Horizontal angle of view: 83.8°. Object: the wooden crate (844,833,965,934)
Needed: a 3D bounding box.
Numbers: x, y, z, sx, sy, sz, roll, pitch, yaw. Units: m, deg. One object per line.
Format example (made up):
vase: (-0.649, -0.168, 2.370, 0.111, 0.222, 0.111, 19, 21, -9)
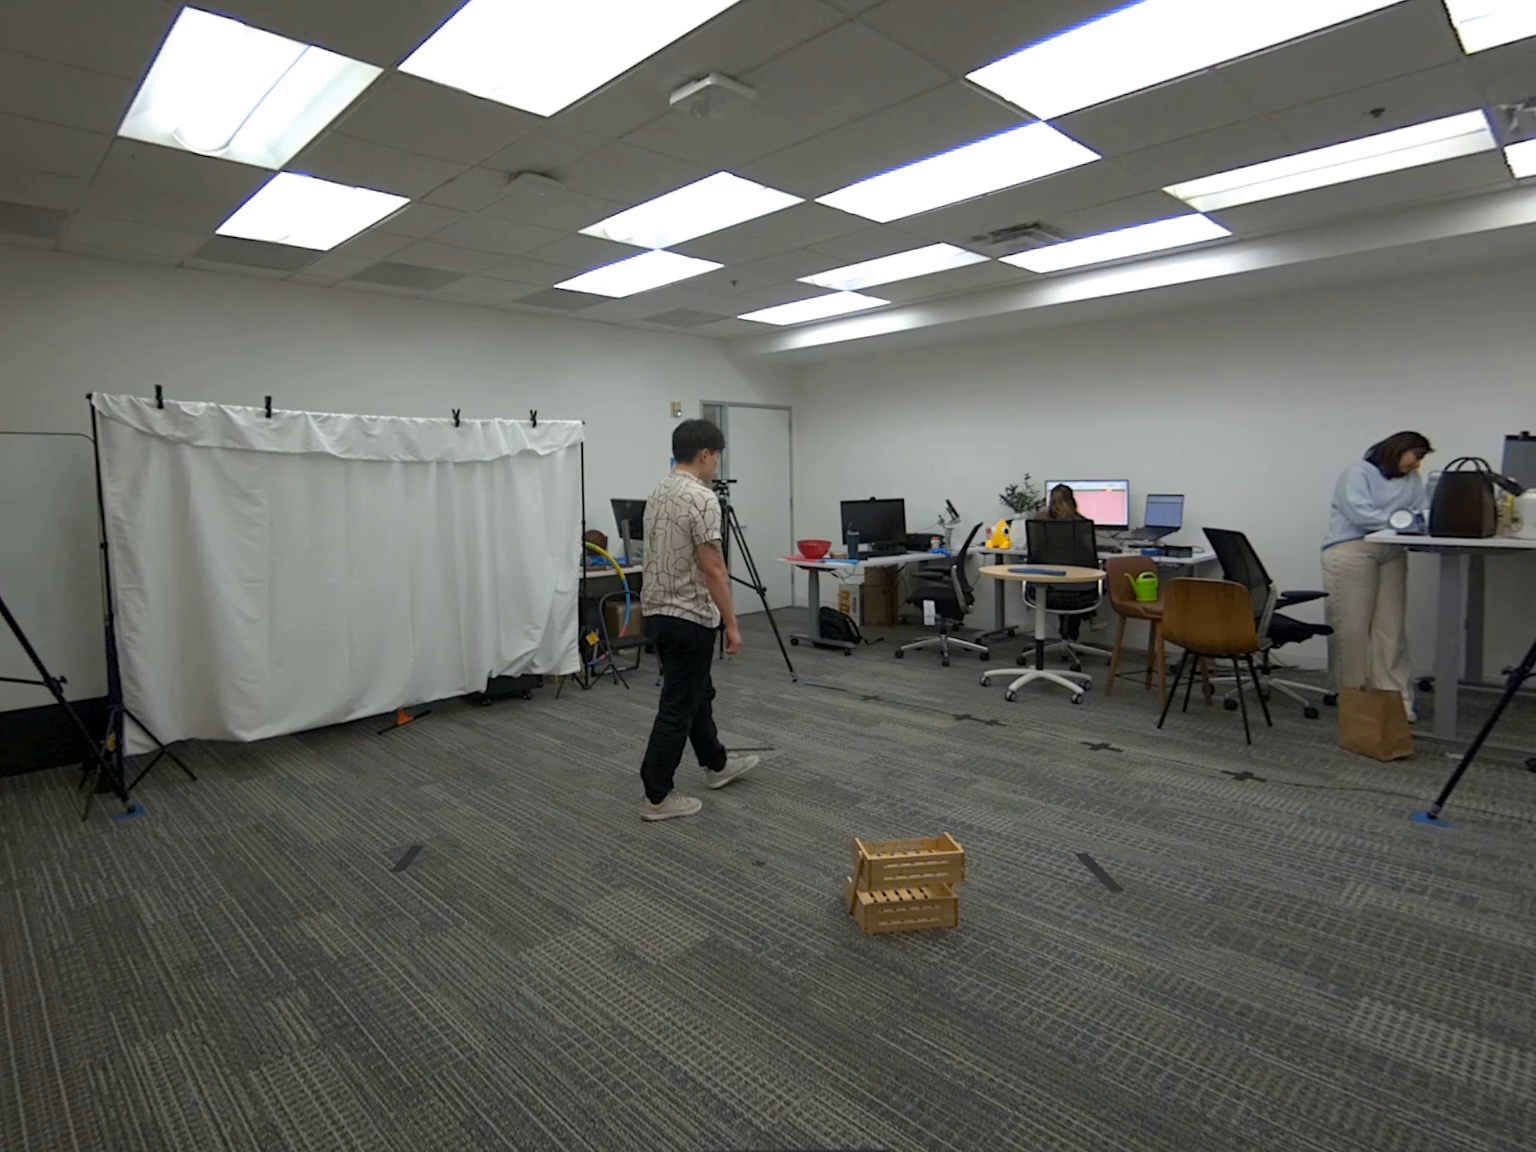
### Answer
wooden crate: (0.426, 0.945, 2.723, 0.322, 0.272, 0.305, -2, 5, -8)
